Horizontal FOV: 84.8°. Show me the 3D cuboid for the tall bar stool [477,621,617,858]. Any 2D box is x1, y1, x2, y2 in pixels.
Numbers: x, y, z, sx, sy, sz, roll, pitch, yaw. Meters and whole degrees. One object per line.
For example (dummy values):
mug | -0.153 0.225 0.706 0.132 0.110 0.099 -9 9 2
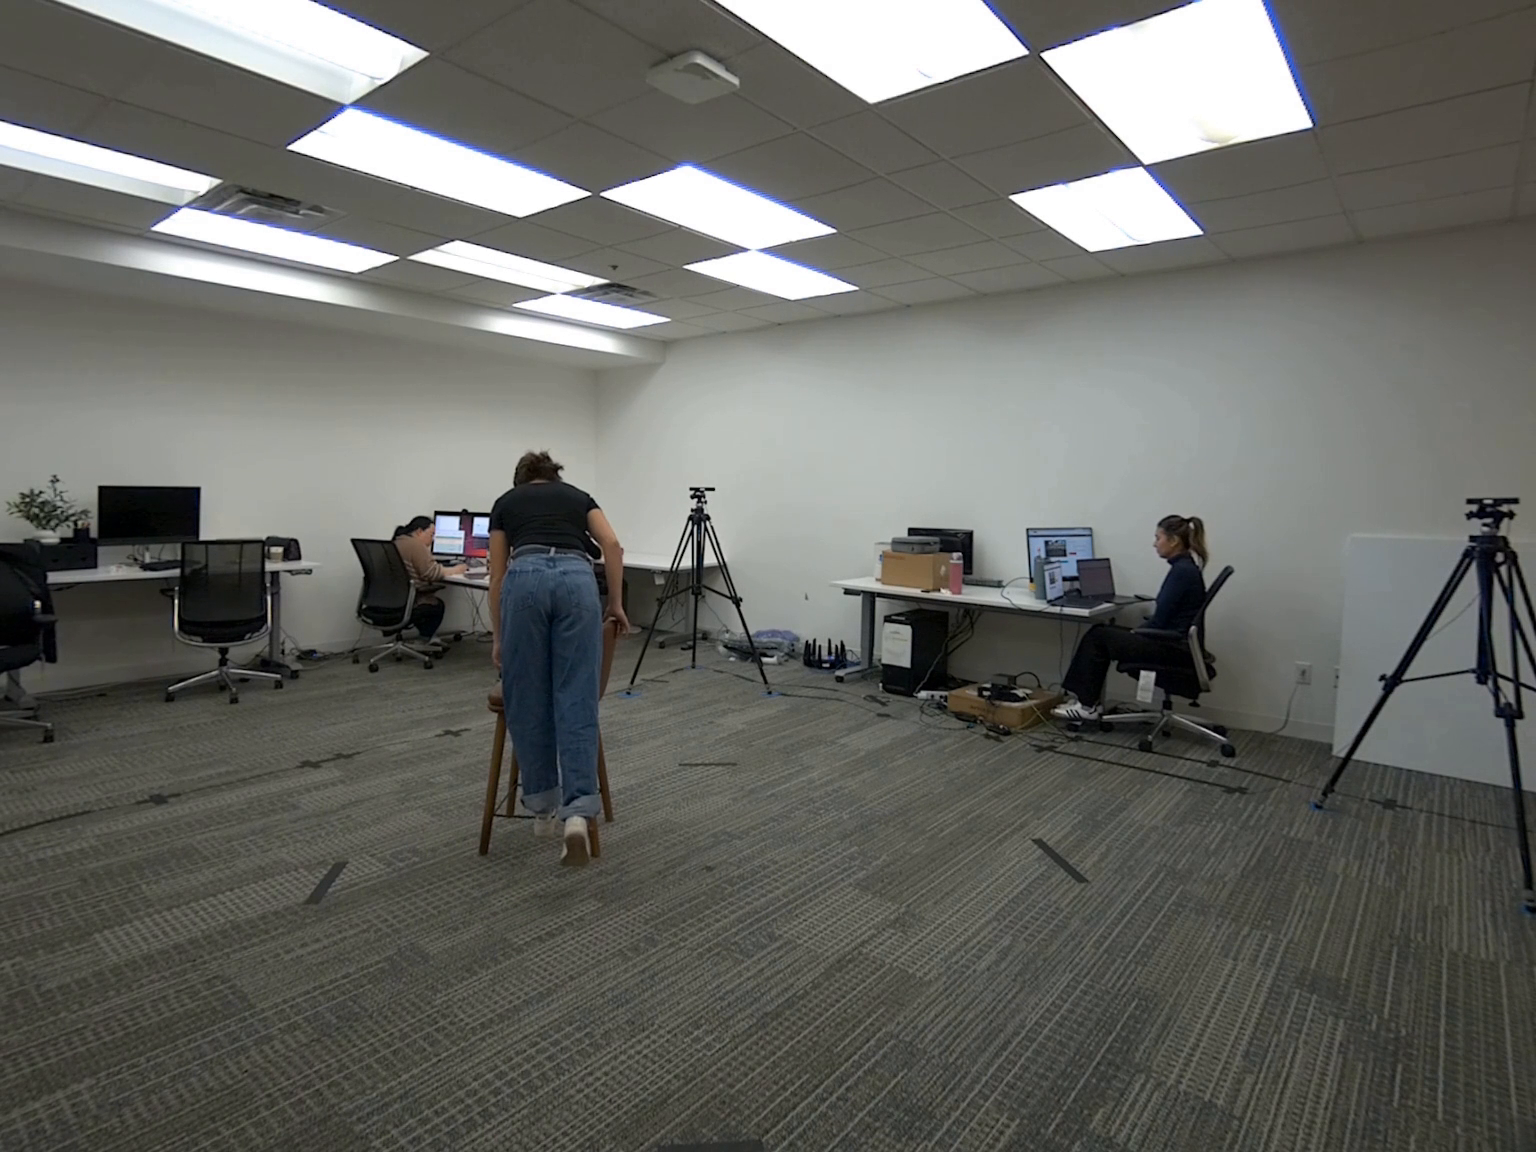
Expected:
tall bar stool | -0.864 0.591 3.358 0.468 0.888 0.457 3 3 0
